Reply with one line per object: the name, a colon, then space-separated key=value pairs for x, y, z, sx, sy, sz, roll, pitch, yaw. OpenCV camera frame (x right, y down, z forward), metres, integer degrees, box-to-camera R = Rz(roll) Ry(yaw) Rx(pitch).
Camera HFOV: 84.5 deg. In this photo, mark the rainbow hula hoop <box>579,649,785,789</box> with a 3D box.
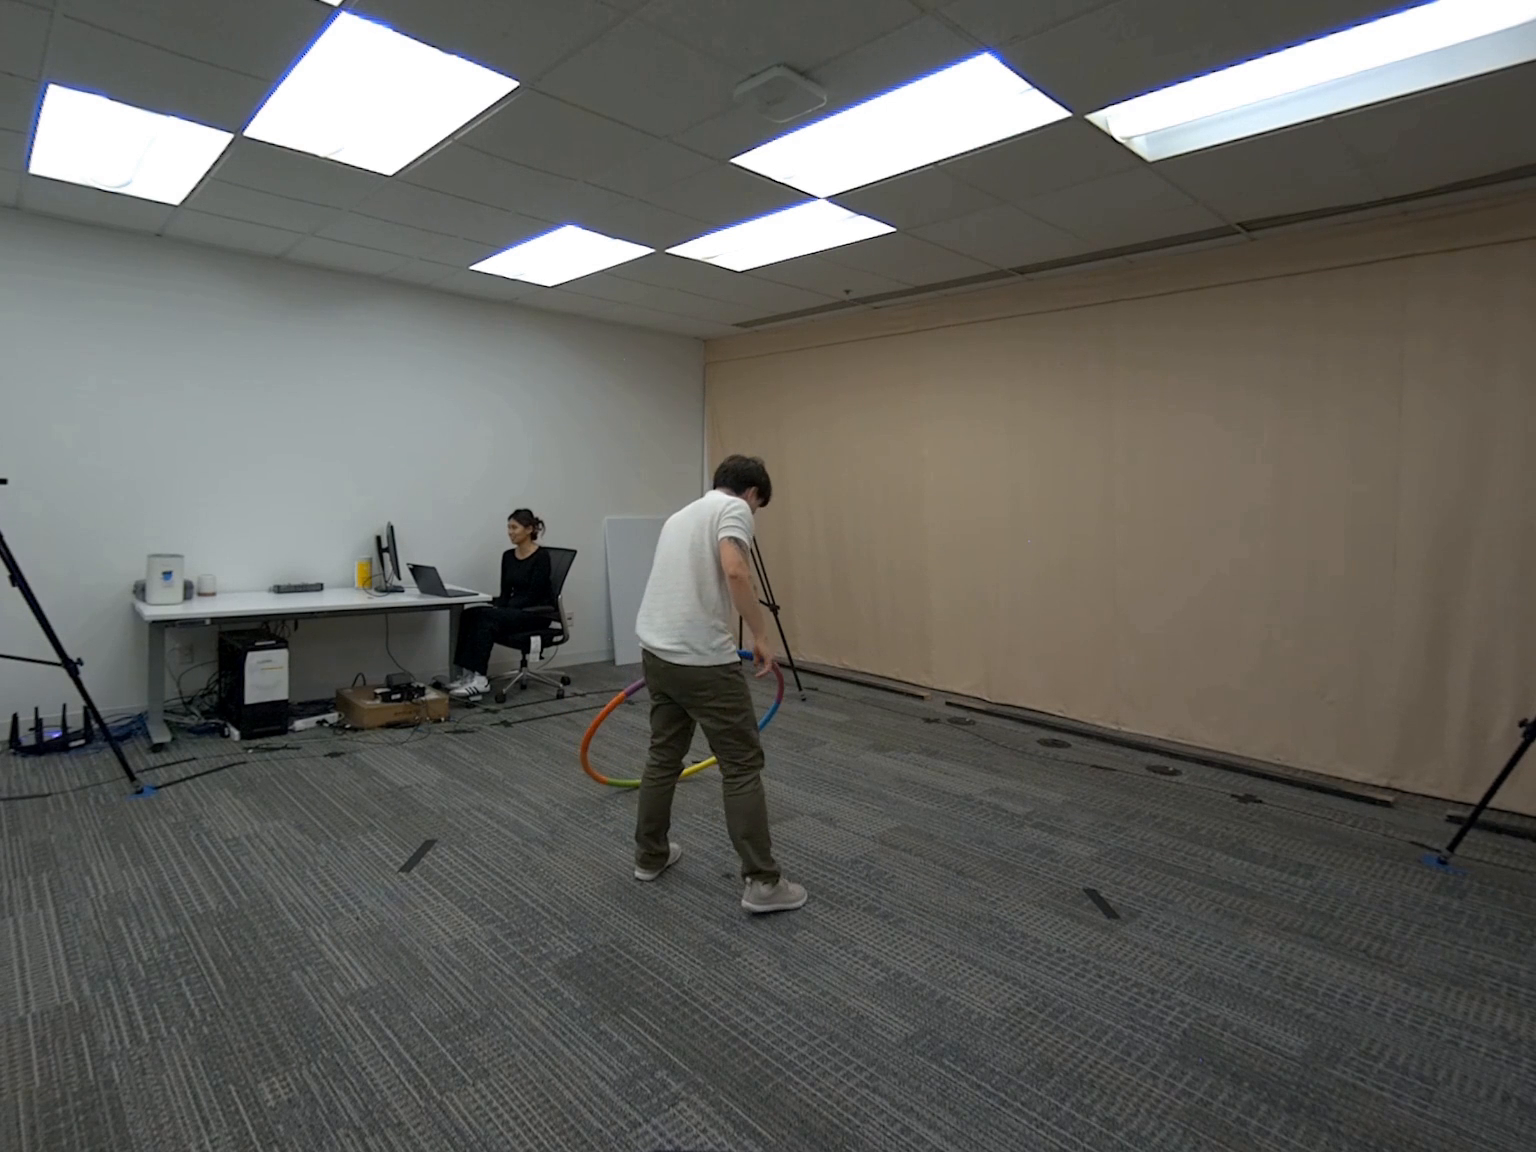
rainbow hula hoop: x=-0.375 y=0.659 z=3.787 sx=0.958 sy=0.970 sz=0.036 roll=-1 pitch=46 yaw=-34
